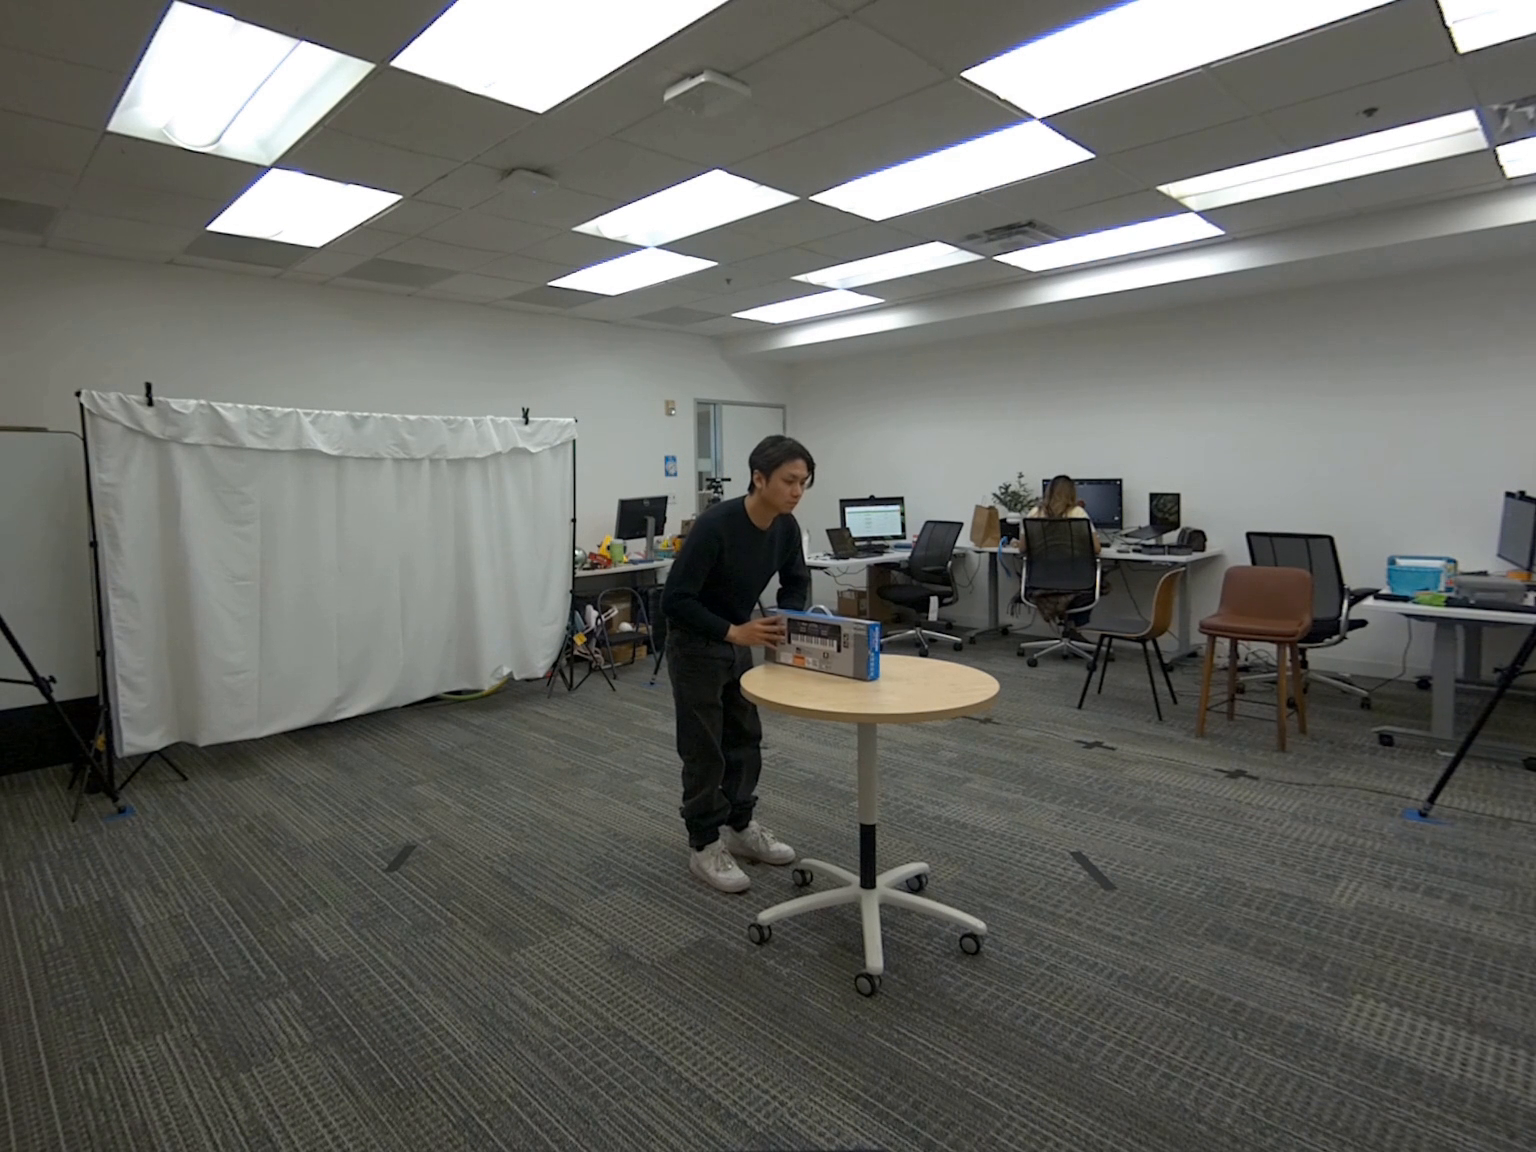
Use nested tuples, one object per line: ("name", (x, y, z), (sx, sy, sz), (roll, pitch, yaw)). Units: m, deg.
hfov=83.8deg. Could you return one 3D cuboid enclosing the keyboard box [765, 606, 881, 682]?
("keyboard box", (0.170, 0.216, 2.713), (0.057, 0.175, 0.450), (-3, 5, -43))
